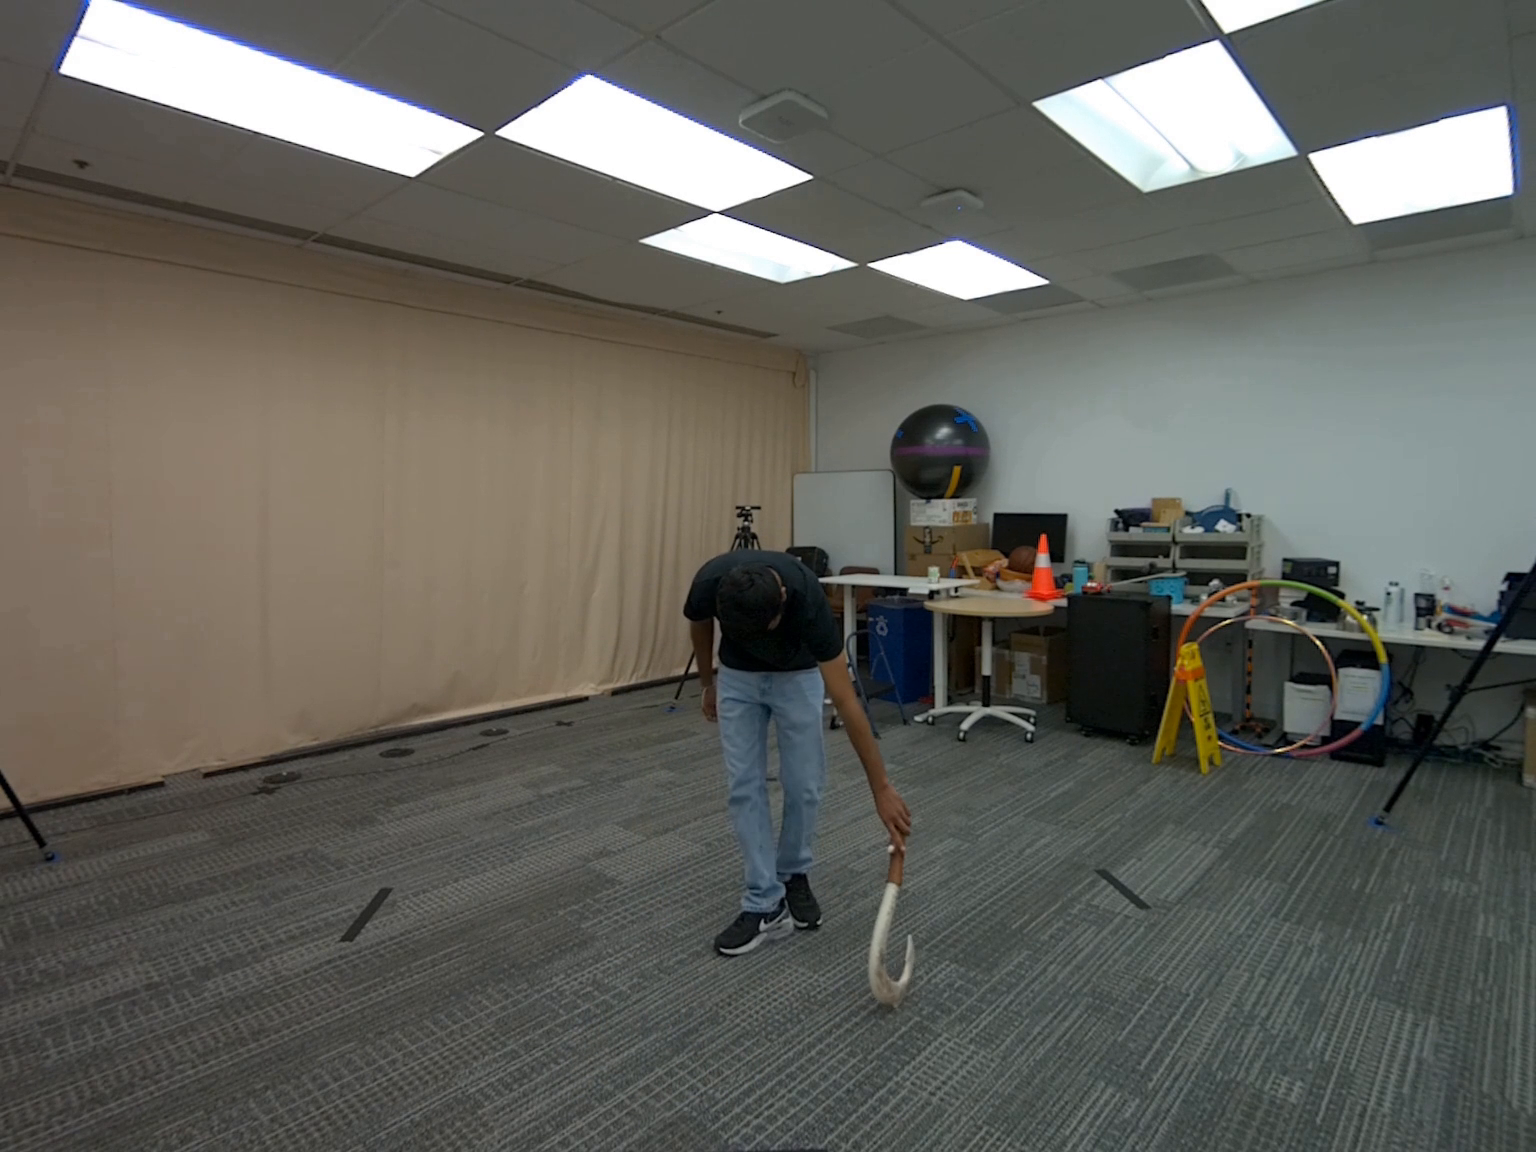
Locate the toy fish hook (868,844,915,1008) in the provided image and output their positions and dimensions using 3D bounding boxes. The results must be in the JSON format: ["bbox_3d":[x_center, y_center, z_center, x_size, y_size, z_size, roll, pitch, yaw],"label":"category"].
[{"bbox_3d":[0.381,0.960,2.427,0.050,0.510,0.216,-6,-34,36],"label":"toy fish hook"}]
